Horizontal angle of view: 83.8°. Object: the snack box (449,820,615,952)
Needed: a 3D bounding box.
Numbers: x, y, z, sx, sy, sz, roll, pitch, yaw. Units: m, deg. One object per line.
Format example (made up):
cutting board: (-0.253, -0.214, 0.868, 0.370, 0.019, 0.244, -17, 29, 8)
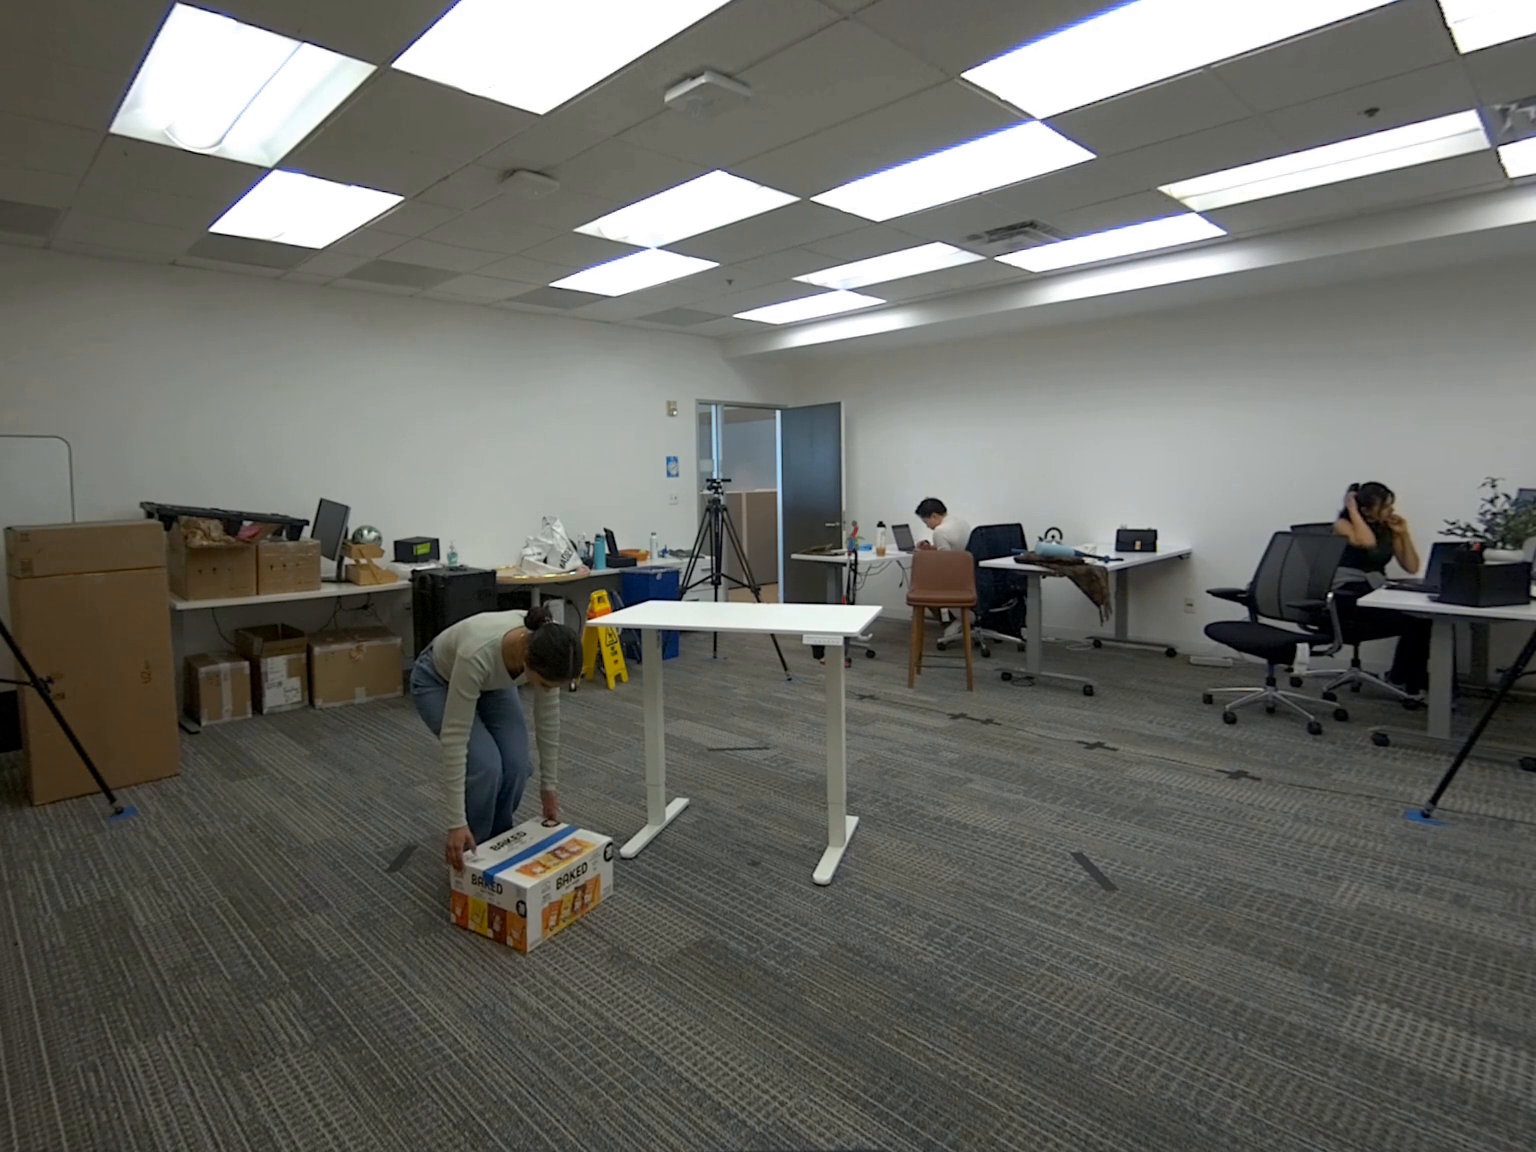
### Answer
snack box: (-0.765, 0.987, 2.790, 0.350, 0.204, 0.396, 5, 8, 30)
